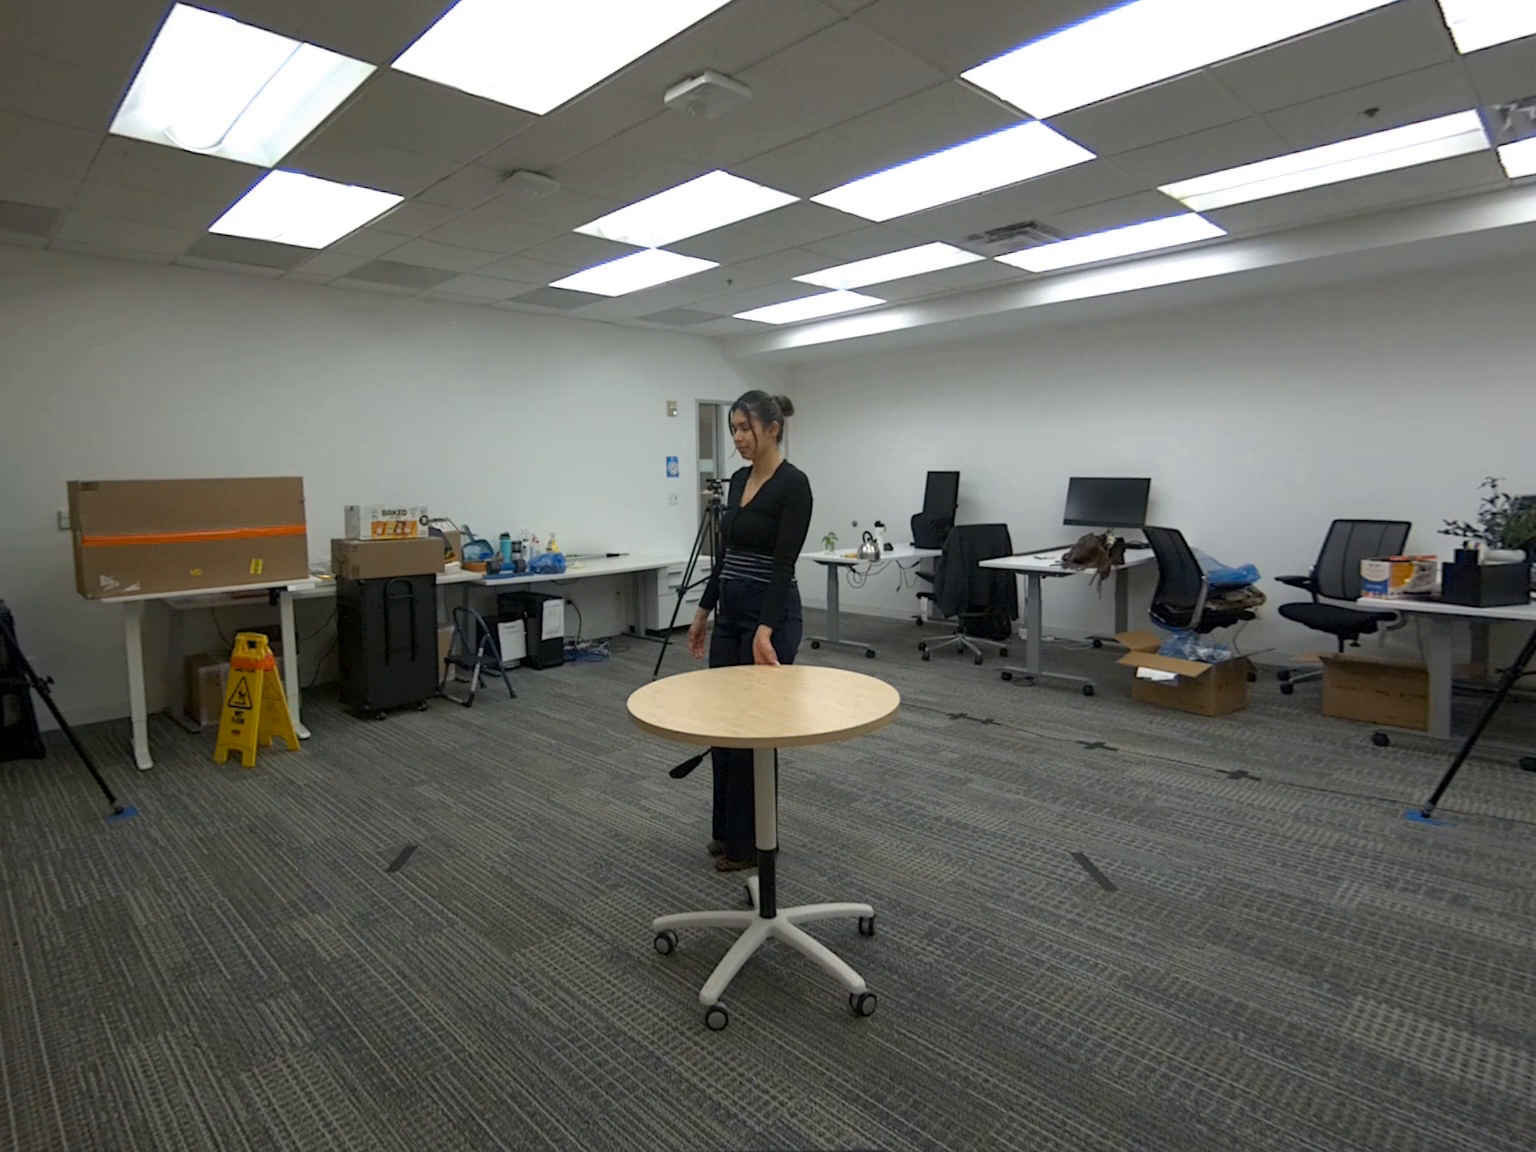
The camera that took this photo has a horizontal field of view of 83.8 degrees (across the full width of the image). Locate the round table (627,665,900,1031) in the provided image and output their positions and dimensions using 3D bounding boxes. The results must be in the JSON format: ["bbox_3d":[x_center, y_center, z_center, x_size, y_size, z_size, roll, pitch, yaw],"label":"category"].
[{"bbox_3d":[0.005,0.736,2.446,0.763,0.790,0.768,-2,5,-2],"label":"round table"}]
